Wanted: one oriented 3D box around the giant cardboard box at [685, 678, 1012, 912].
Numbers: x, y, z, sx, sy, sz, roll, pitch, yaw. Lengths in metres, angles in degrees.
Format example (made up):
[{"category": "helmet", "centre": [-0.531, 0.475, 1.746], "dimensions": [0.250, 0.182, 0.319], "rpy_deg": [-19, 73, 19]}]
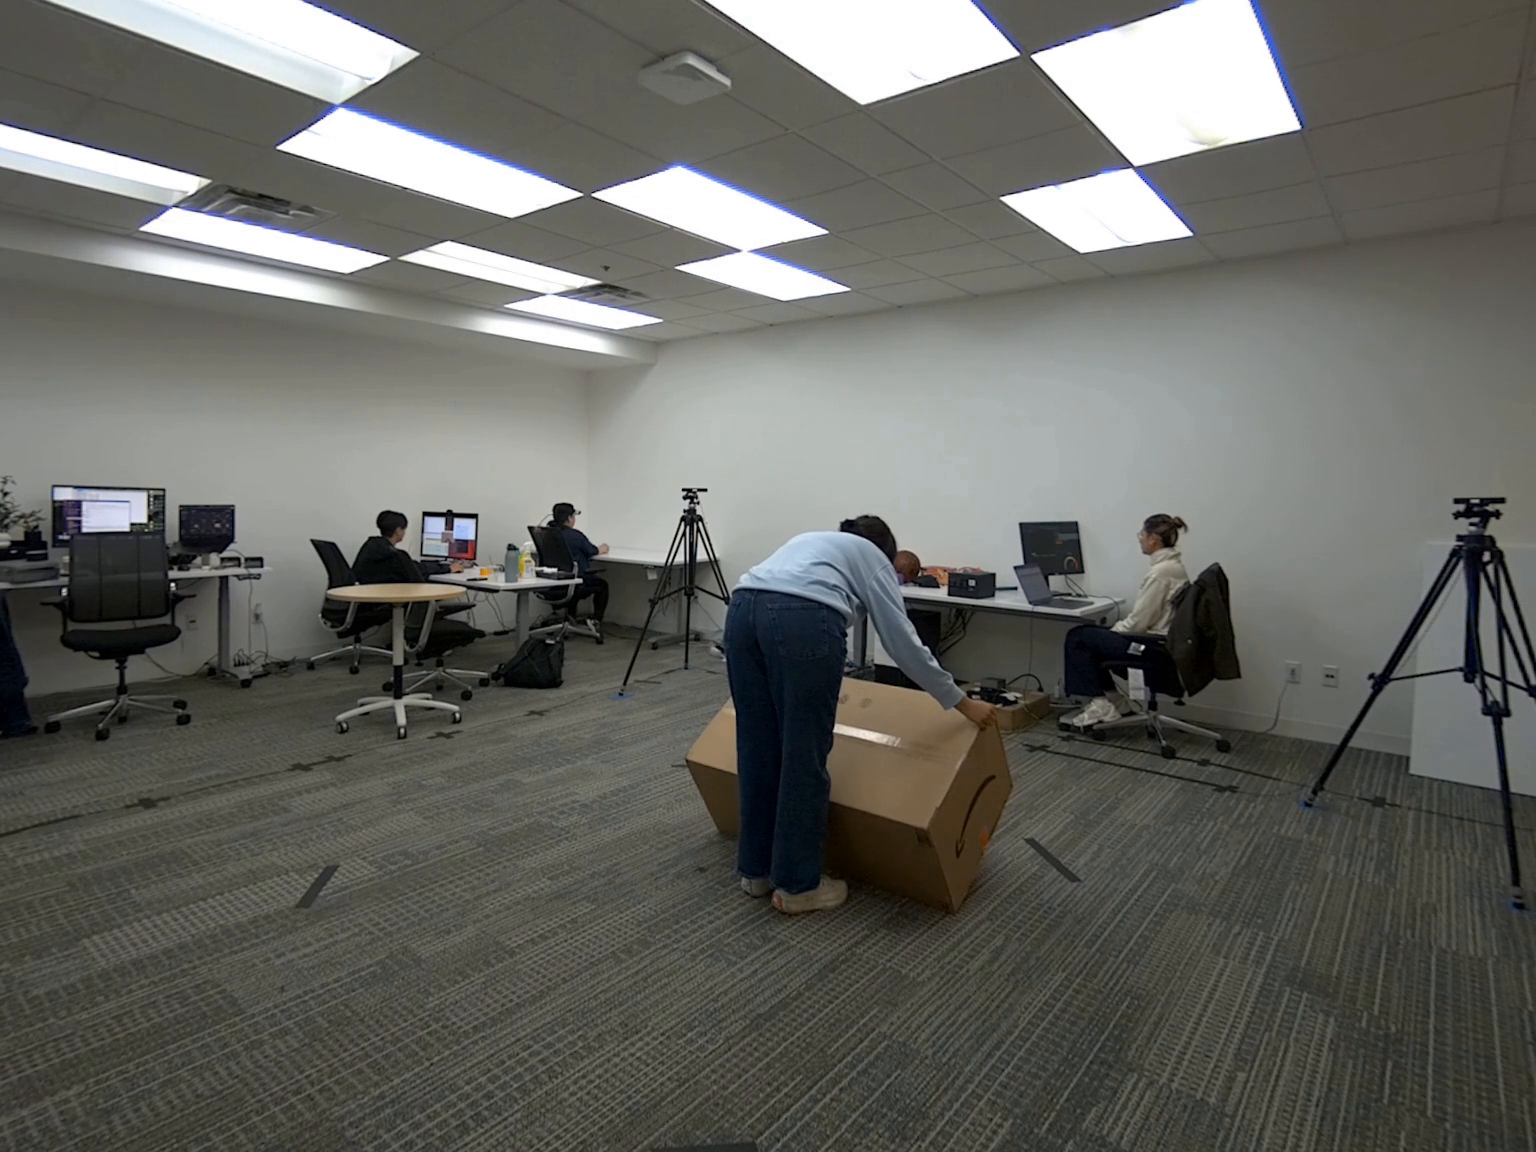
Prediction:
[{"category": "giant cardboard box", "centre": [0.289, 0.739, 3.217], "dimensions": [1.060, 0.413, 0.577], "rpy_deg": [5, 38, 38]}]
